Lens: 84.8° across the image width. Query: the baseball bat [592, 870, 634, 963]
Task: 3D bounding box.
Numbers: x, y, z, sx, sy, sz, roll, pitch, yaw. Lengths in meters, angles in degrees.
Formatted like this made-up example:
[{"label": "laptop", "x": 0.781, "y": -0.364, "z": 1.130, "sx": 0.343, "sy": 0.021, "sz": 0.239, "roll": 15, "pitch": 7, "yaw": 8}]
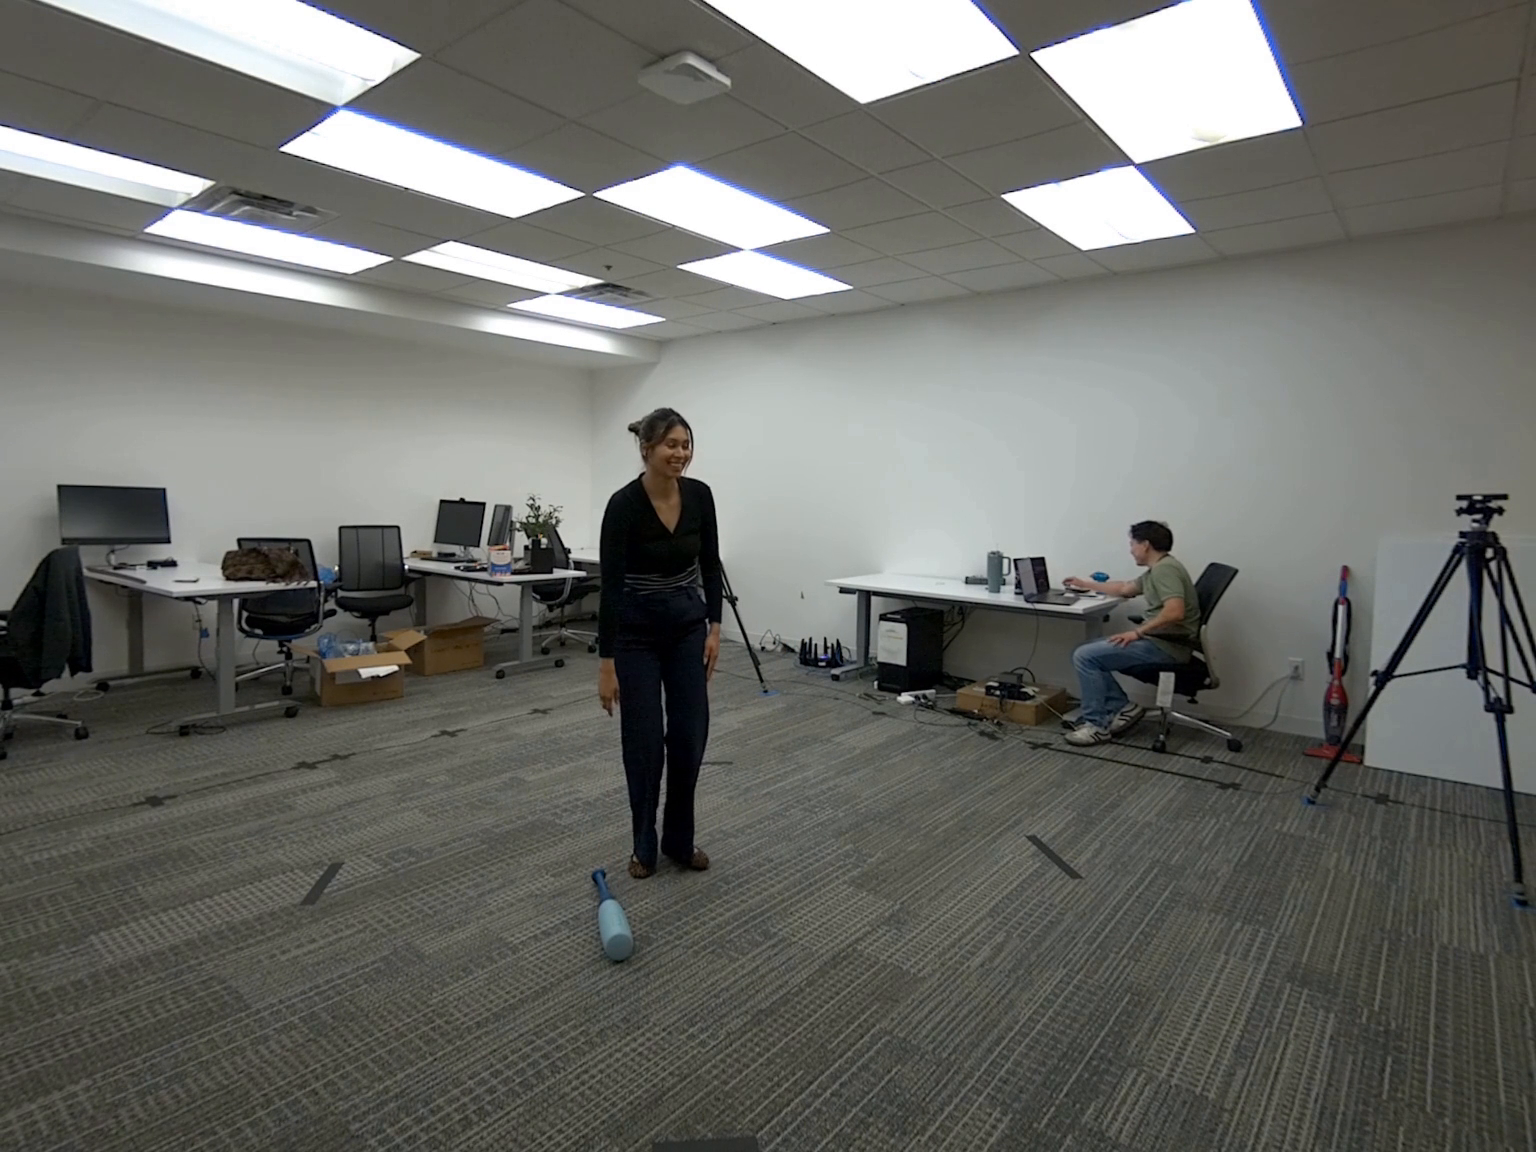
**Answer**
[{"label": "baseball bat", "x": -0.519, "y": 1.063, "z": 2.722, "sx": 0.087, "sy": 0.089, "sz": 0.553, "roll": -1, "pitch": 2, "yaw": -18}]
